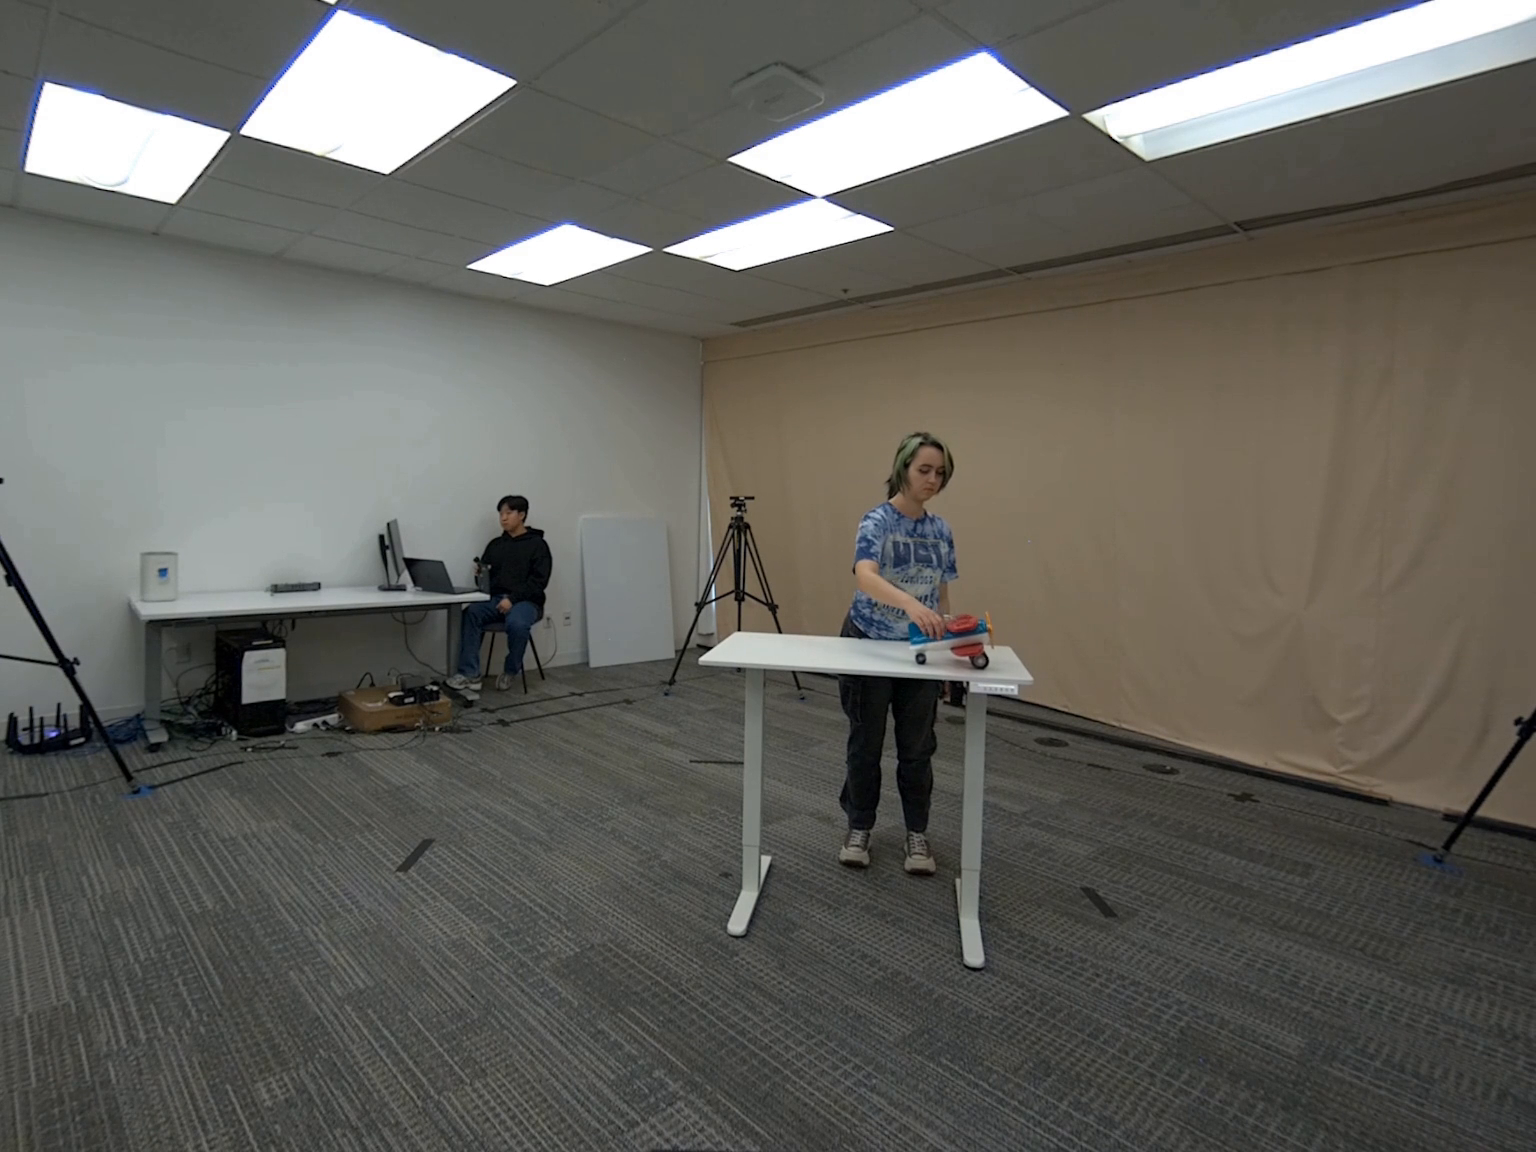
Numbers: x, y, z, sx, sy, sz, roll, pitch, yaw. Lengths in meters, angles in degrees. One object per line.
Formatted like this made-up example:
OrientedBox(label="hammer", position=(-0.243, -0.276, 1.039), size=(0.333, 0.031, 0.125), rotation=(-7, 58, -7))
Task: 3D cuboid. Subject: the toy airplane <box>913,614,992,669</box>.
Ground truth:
OrientedBox(label="toy airplane", position=(0.564, 0.205, 2.613), size=(0.256, 0.156, 0.255), rotation=(1, 5, -18))
